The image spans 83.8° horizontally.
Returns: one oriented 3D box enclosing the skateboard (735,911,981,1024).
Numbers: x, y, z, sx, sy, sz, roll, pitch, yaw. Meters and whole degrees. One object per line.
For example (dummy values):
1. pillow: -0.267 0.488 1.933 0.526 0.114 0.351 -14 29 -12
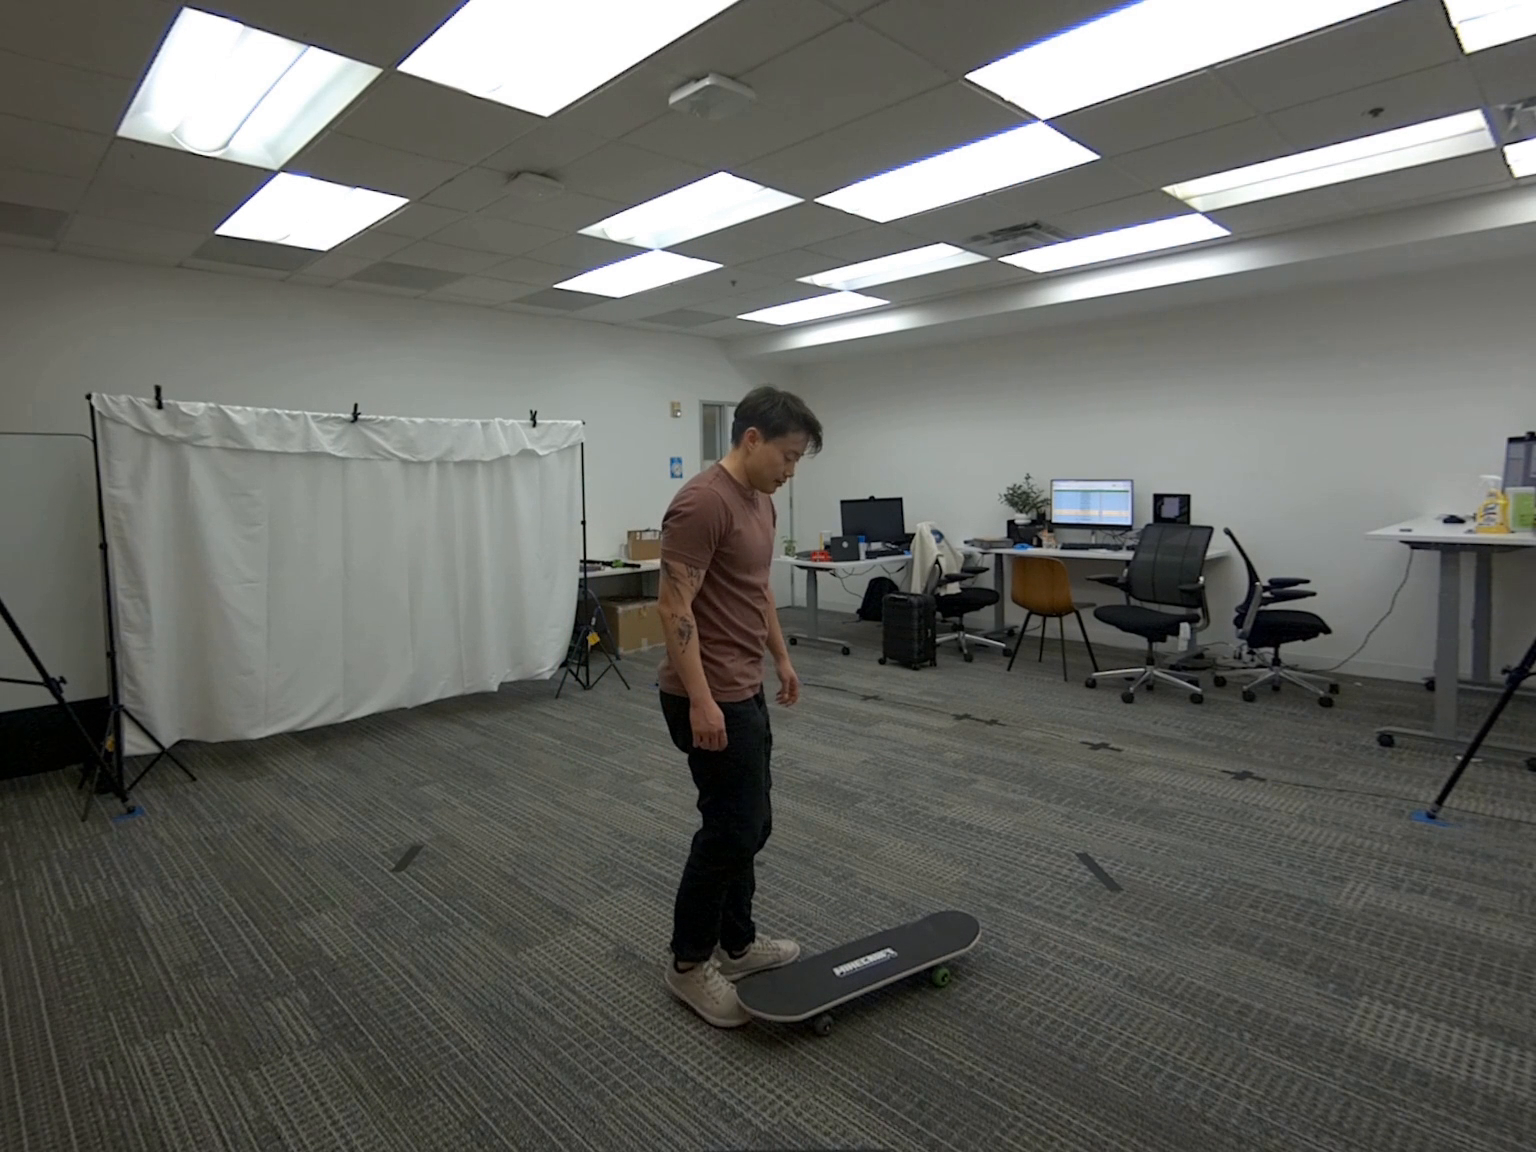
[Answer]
1. skateboard: 0.271 1.076 2.314 0.767 0.110 0.199 -5 7 -30
